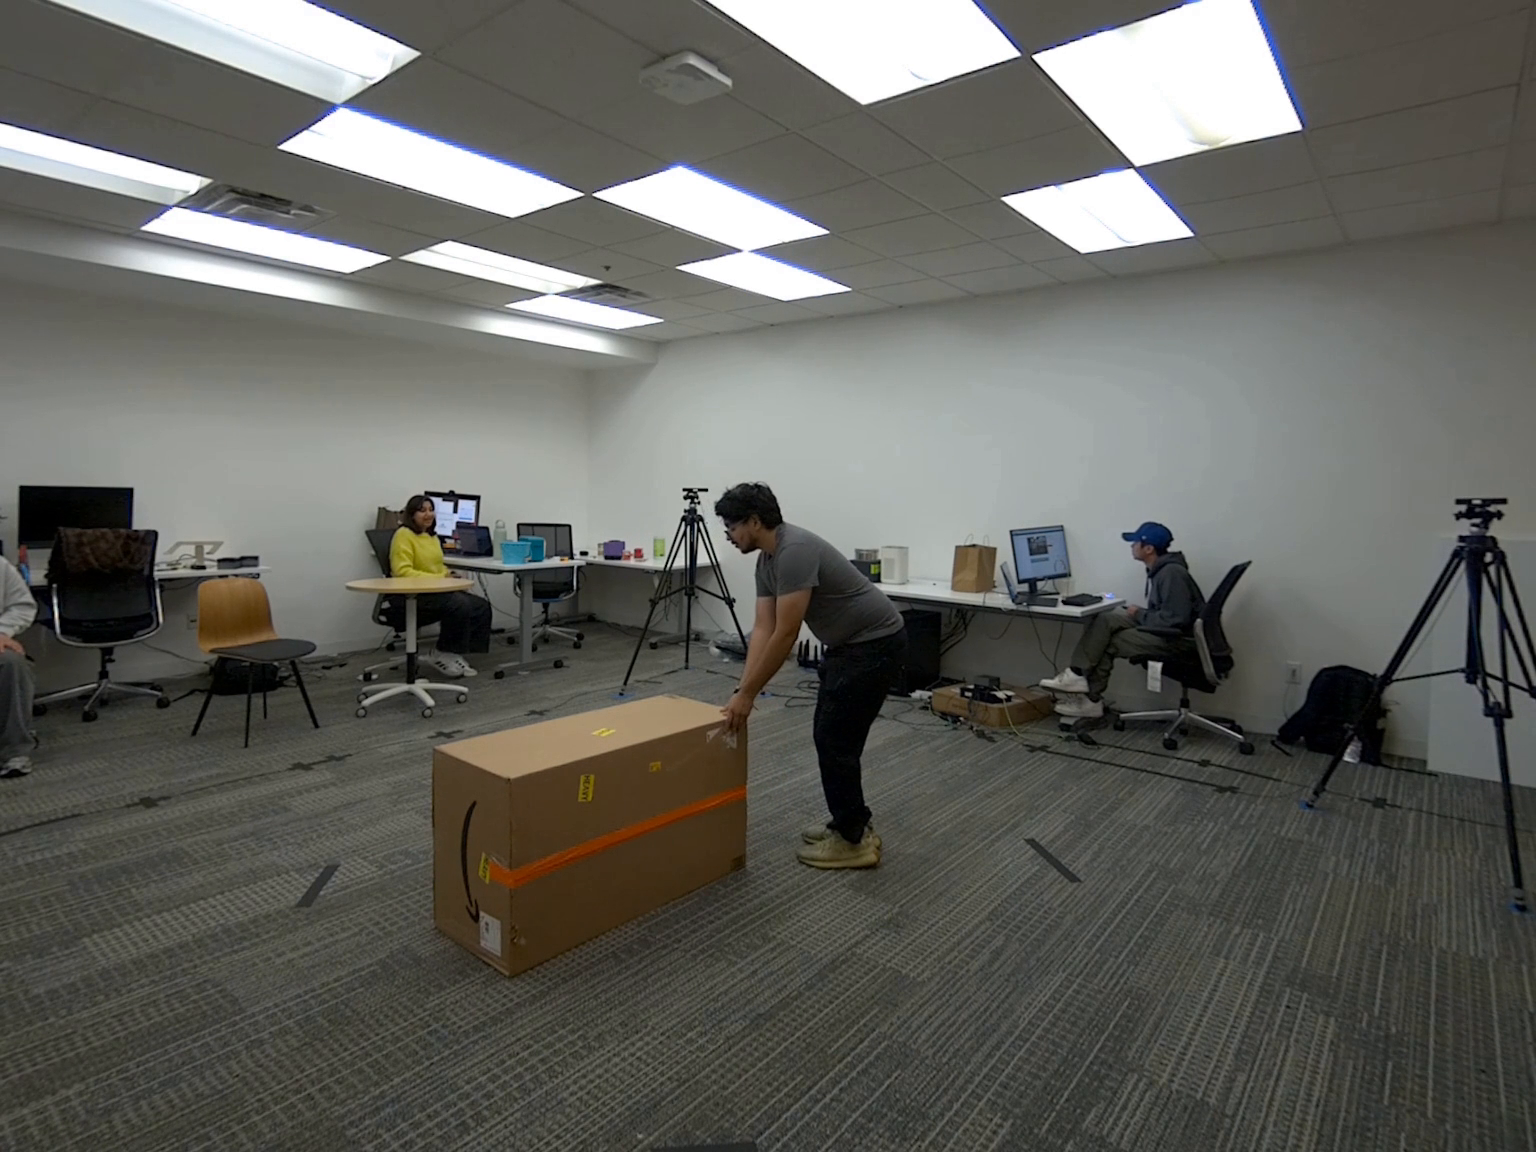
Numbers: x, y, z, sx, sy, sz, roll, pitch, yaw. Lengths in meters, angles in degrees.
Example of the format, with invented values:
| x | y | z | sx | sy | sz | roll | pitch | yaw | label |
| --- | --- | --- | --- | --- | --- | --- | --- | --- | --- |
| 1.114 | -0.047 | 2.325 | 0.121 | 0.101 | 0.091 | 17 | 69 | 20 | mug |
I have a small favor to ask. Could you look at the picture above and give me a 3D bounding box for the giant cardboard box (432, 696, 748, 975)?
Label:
| x | y | z | sx | sy | sz | roll | pitch | yaw | label |
| --- | --- | --- | --- | --- | --- | --- | --- | --- | --- |
| -0.575 | 0.803 | 2.883 | 0.440 | 0.576 | 0.995 | 4 | 5 | 41 | giant cardboard box |
